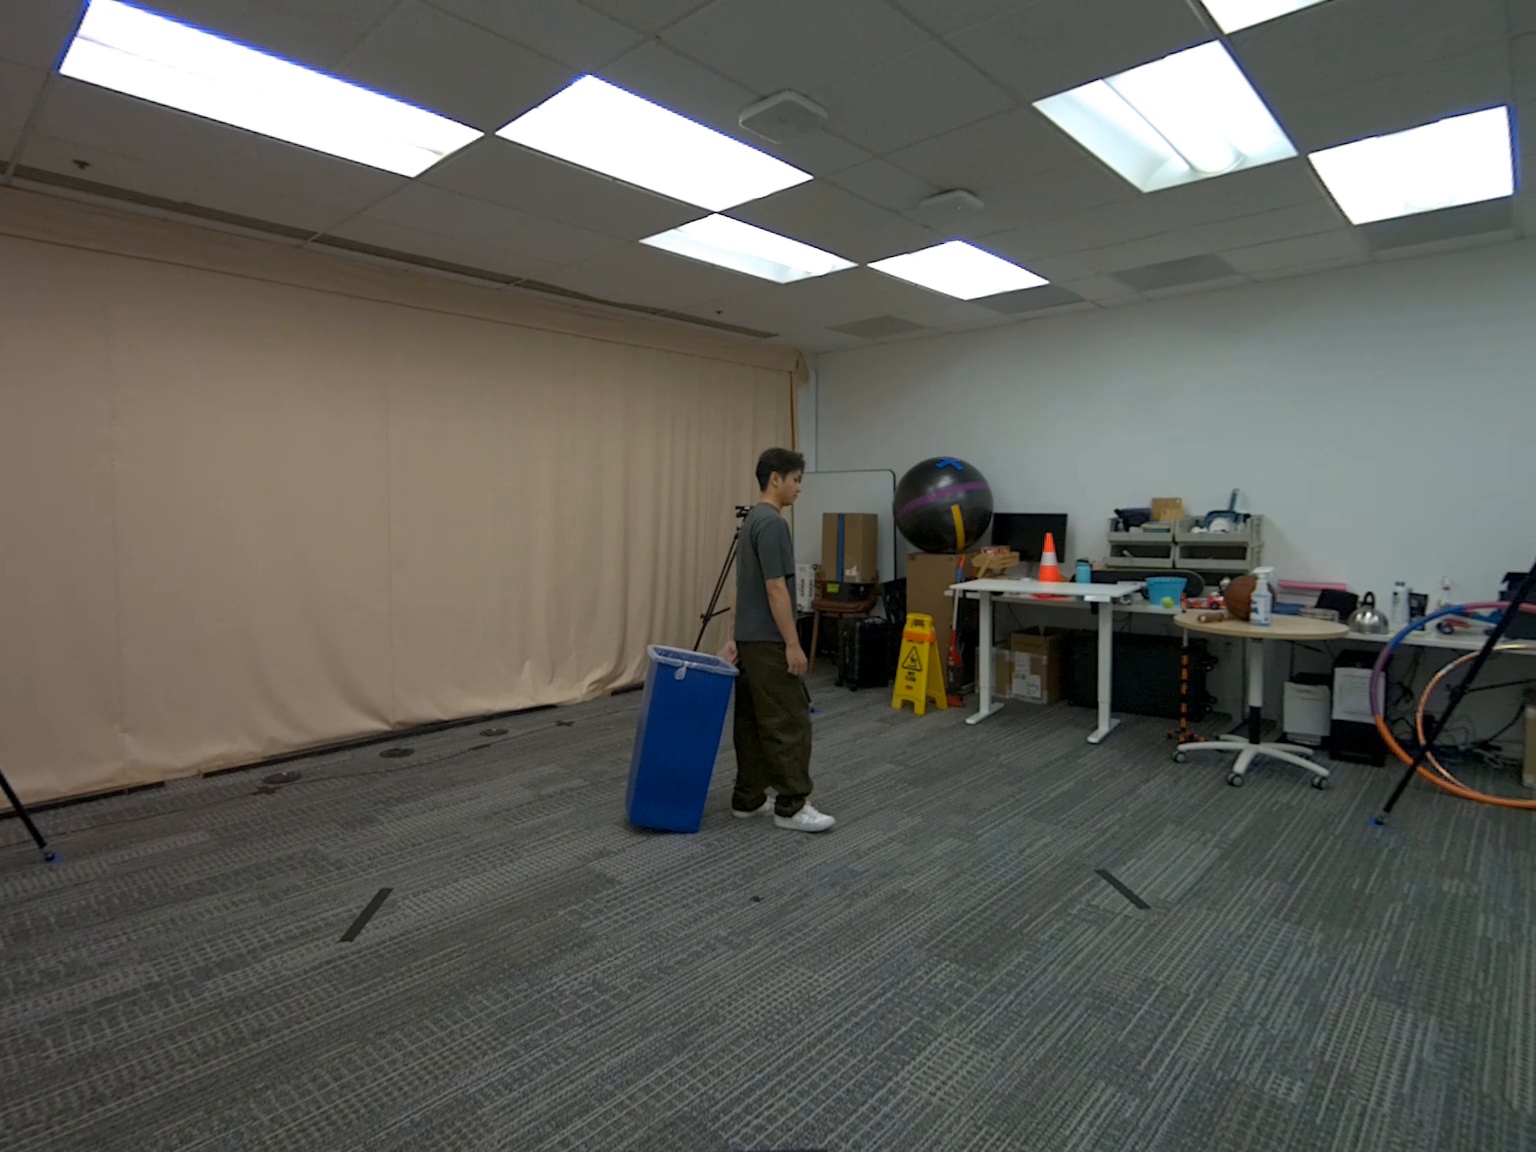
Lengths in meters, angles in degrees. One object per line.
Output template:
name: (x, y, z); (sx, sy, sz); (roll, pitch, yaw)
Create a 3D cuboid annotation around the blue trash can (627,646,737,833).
blue trash can: (-0.405, 0.711, 3.719); (0.373, 0.713, 0.379); (13, 0, -12)
